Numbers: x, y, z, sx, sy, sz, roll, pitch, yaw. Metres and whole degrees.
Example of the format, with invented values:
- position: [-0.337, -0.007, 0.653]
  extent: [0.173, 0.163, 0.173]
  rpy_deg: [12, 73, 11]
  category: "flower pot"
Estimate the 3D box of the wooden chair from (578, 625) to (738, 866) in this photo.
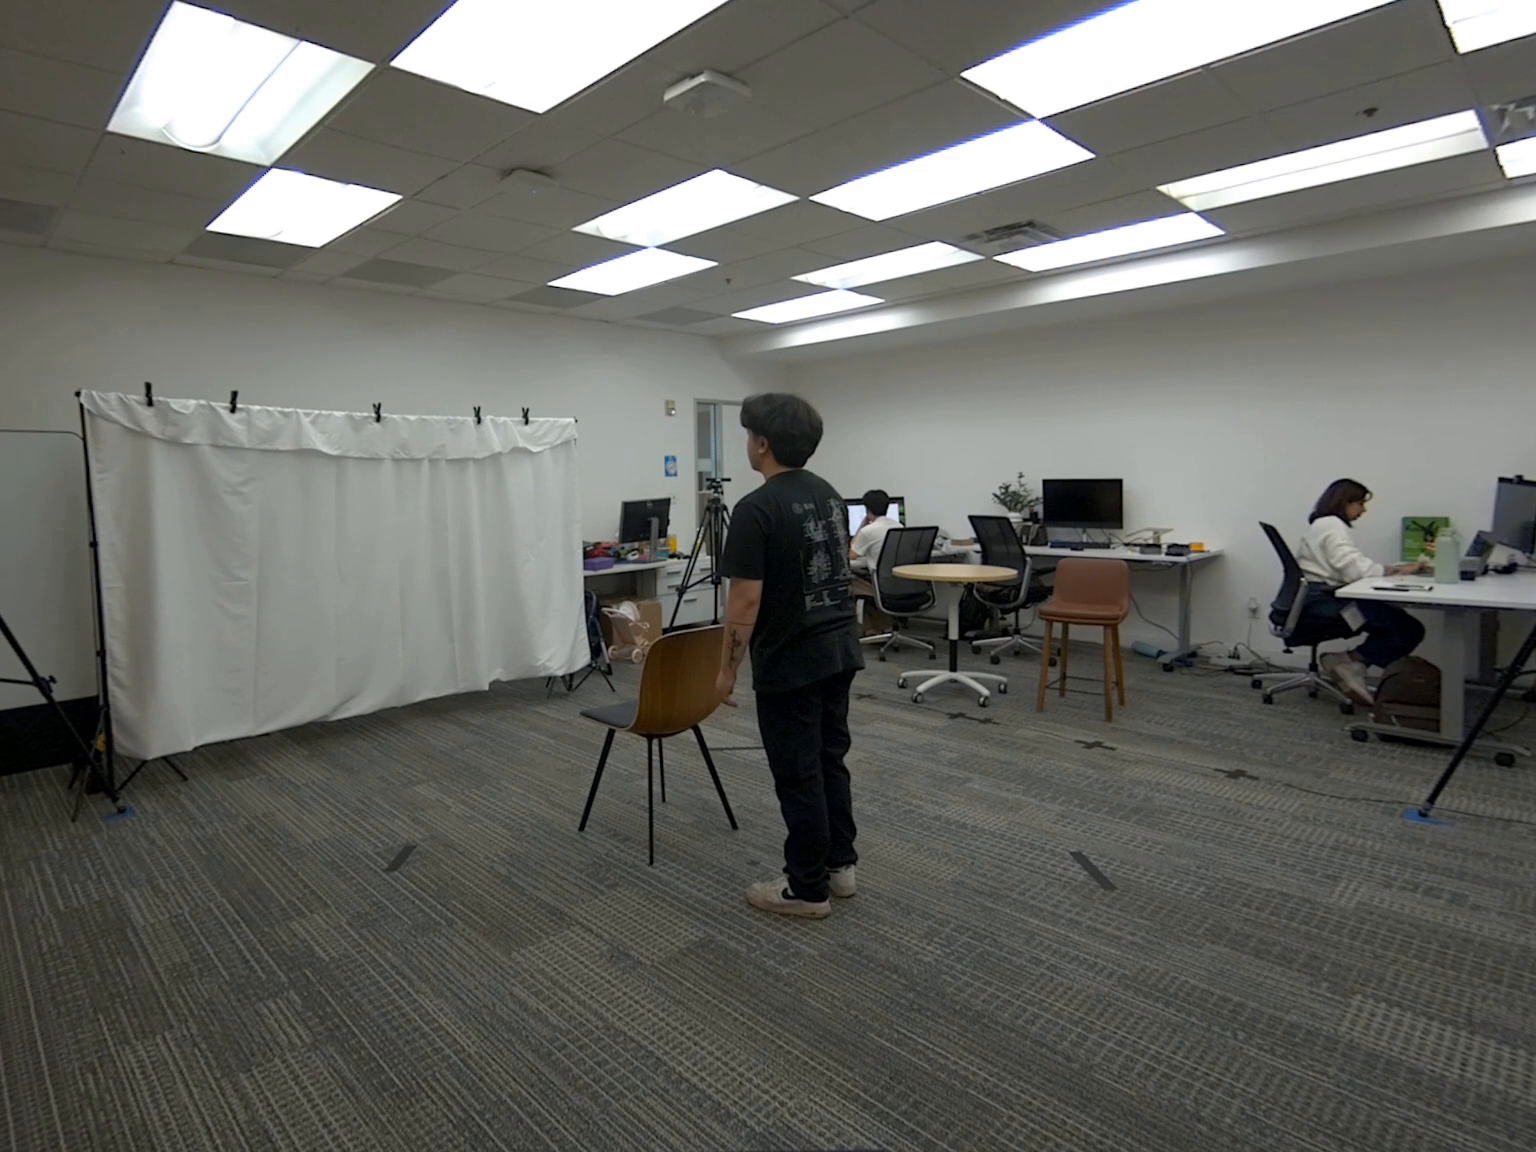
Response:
- position: [-0.452, 0.590, 3.388]
  extent: [0.540, 0.872, 0.465]
  rpy_deg: [9, 10, 43]
  category: "wooden chair"
